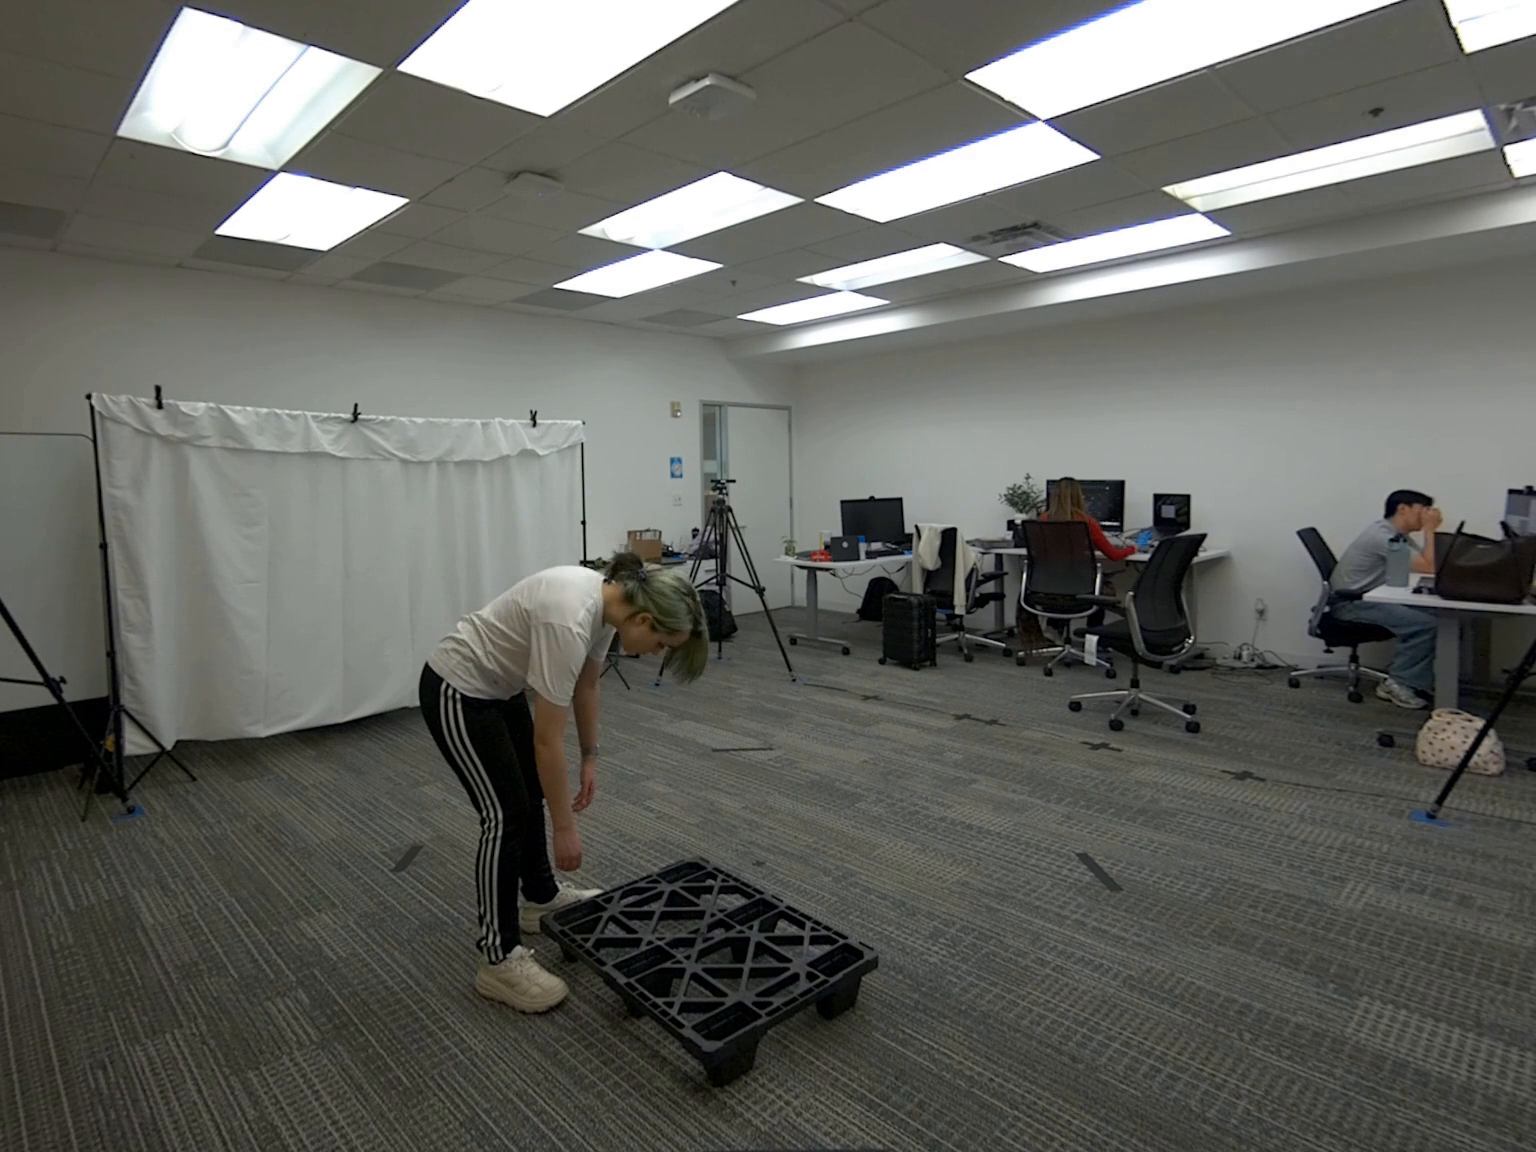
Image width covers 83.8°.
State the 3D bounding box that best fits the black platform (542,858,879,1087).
[{"bbox_3d":[-0.182,1.066,2.396,0.589,0.142,0.831,-6,8,-41],"label":"black platform"}]
